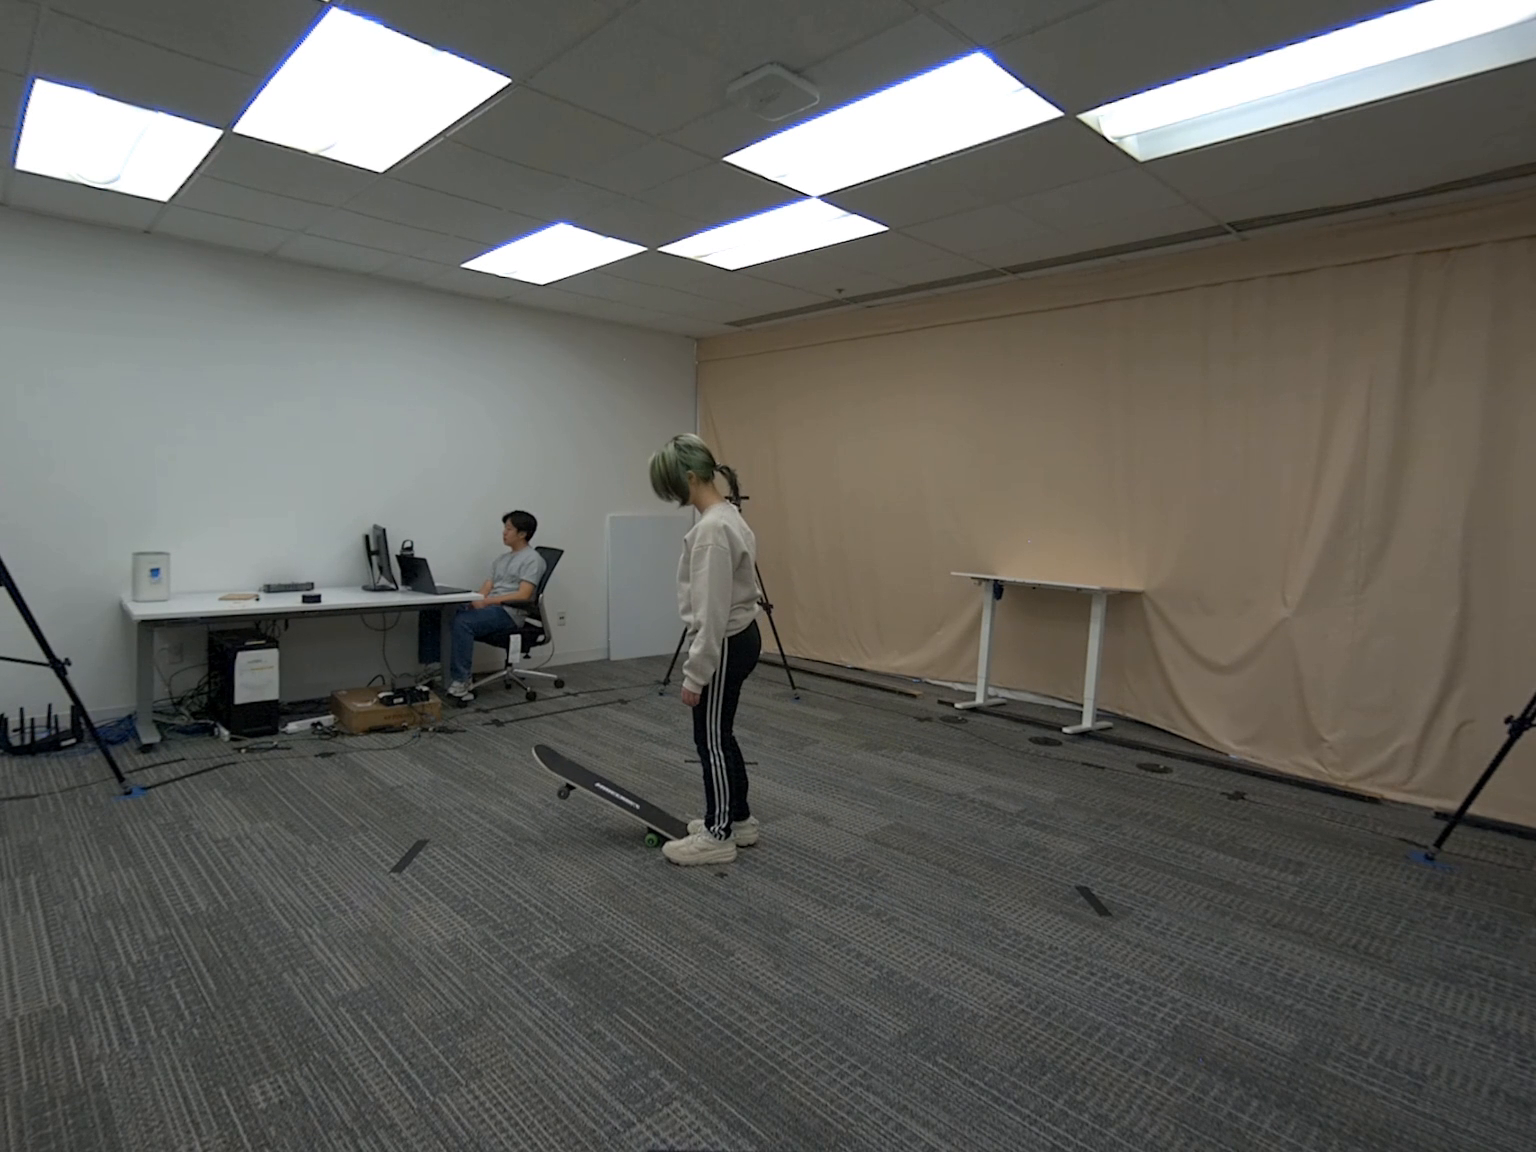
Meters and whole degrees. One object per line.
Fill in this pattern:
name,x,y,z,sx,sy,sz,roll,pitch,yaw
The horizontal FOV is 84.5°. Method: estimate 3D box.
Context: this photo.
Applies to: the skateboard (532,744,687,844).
skateboard,-0.631,0.925,3.424,0.786,0.110,0.193,29,3,0
